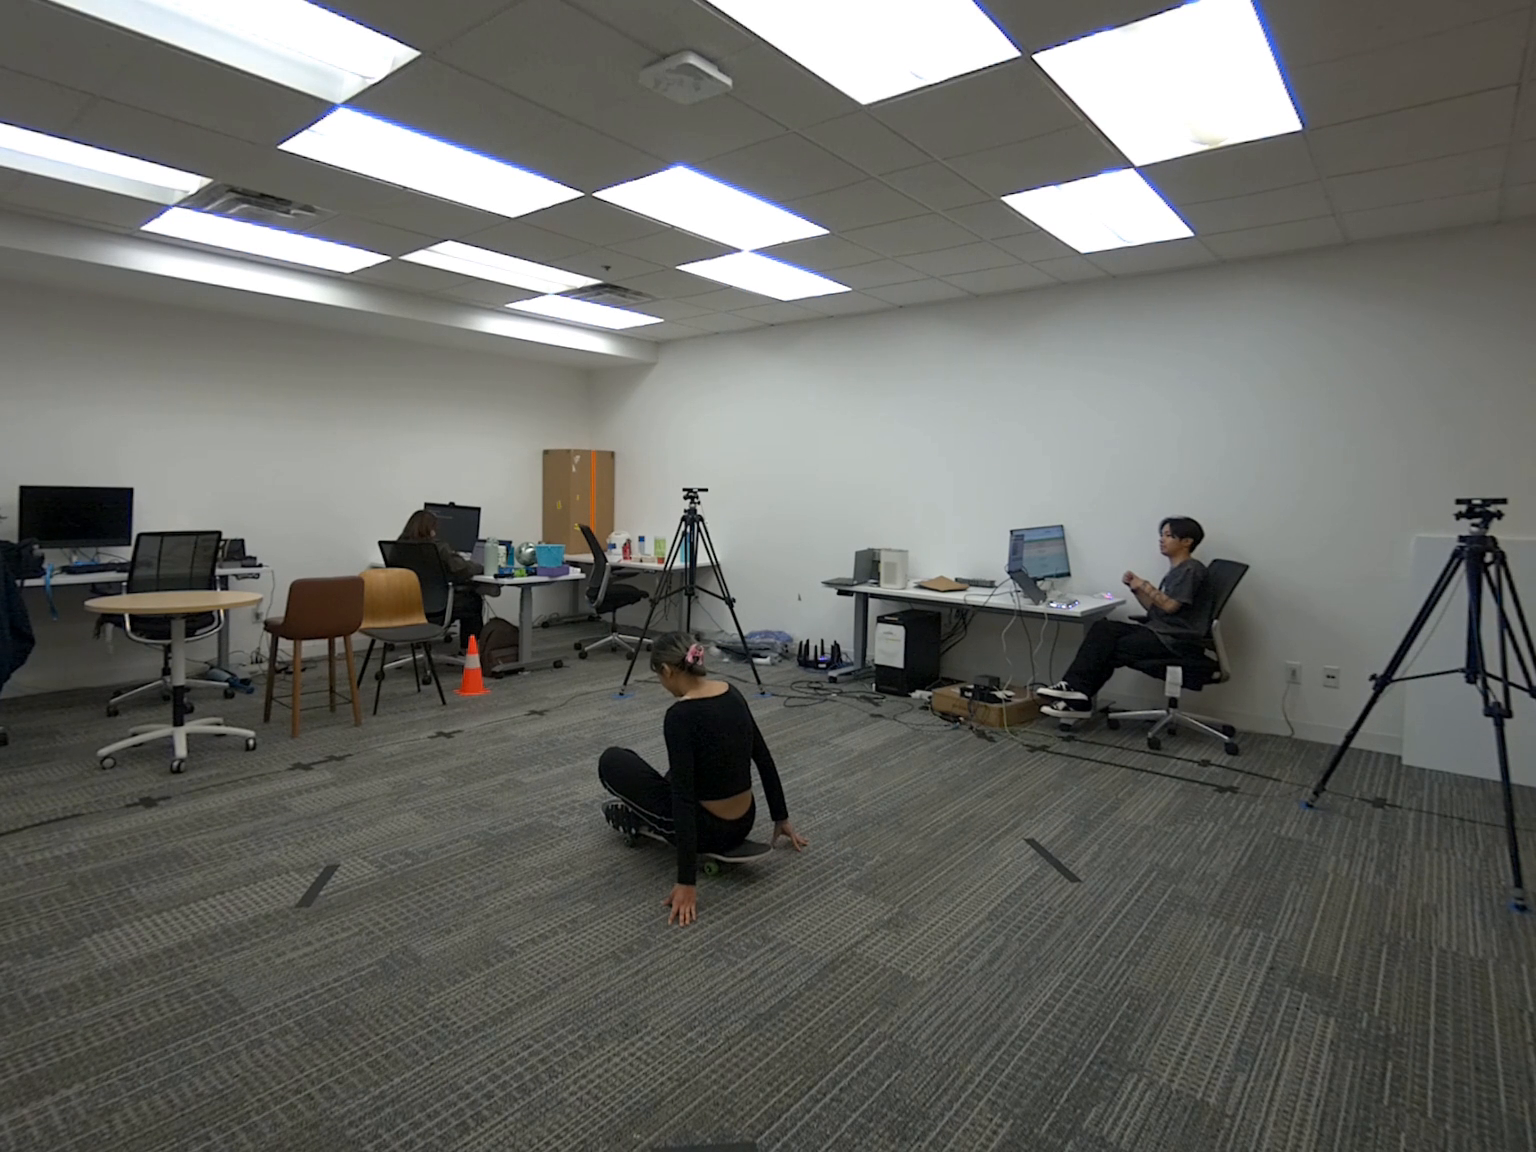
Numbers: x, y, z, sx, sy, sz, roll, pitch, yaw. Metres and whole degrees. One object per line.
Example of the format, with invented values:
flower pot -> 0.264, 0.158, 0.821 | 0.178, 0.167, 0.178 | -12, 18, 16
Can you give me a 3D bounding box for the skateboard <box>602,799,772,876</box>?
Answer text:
skateboard -> -0.351, 0.992, 3.245 | 0.811, 0.110, 0.188 | 7, 6, 33
